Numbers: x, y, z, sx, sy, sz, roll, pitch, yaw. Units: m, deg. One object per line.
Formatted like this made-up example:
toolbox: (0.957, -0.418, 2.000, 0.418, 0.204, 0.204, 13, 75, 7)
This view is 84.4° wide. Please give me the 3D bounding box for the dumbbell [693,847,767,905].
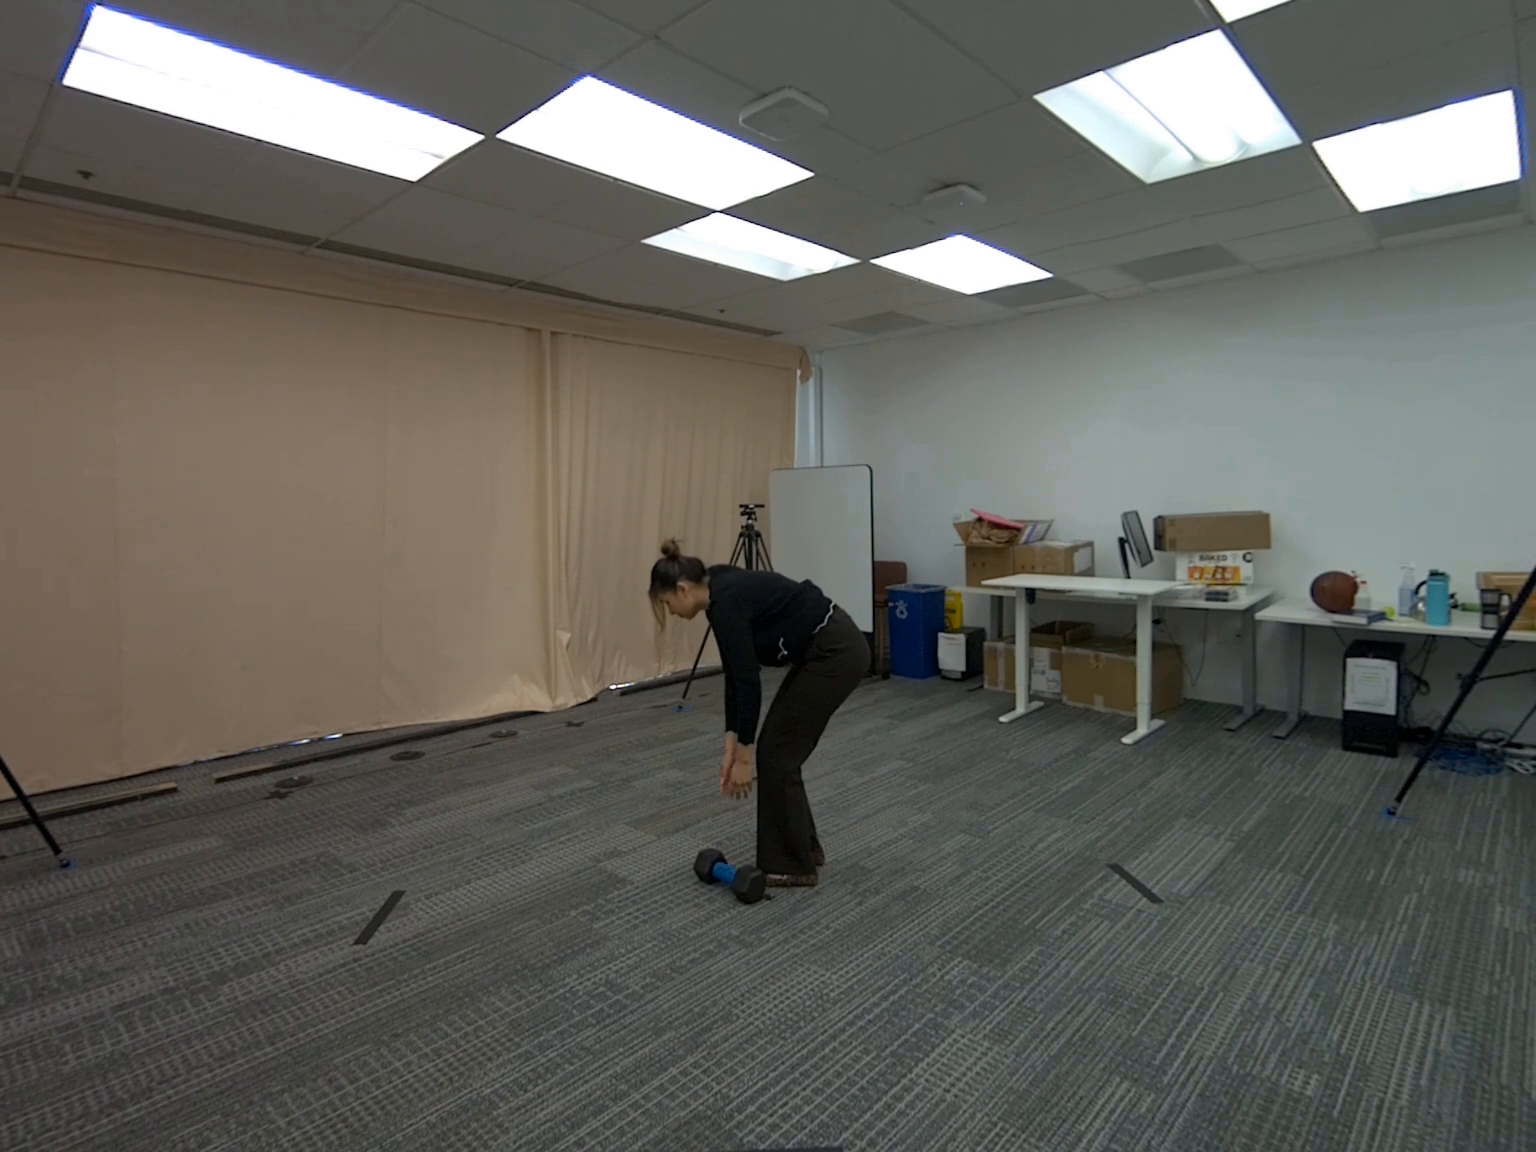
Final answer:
dumbbell: (-0.139, 1.082, 3.045, 0.119, 0.108, 0.303, -5, 7, -44)
